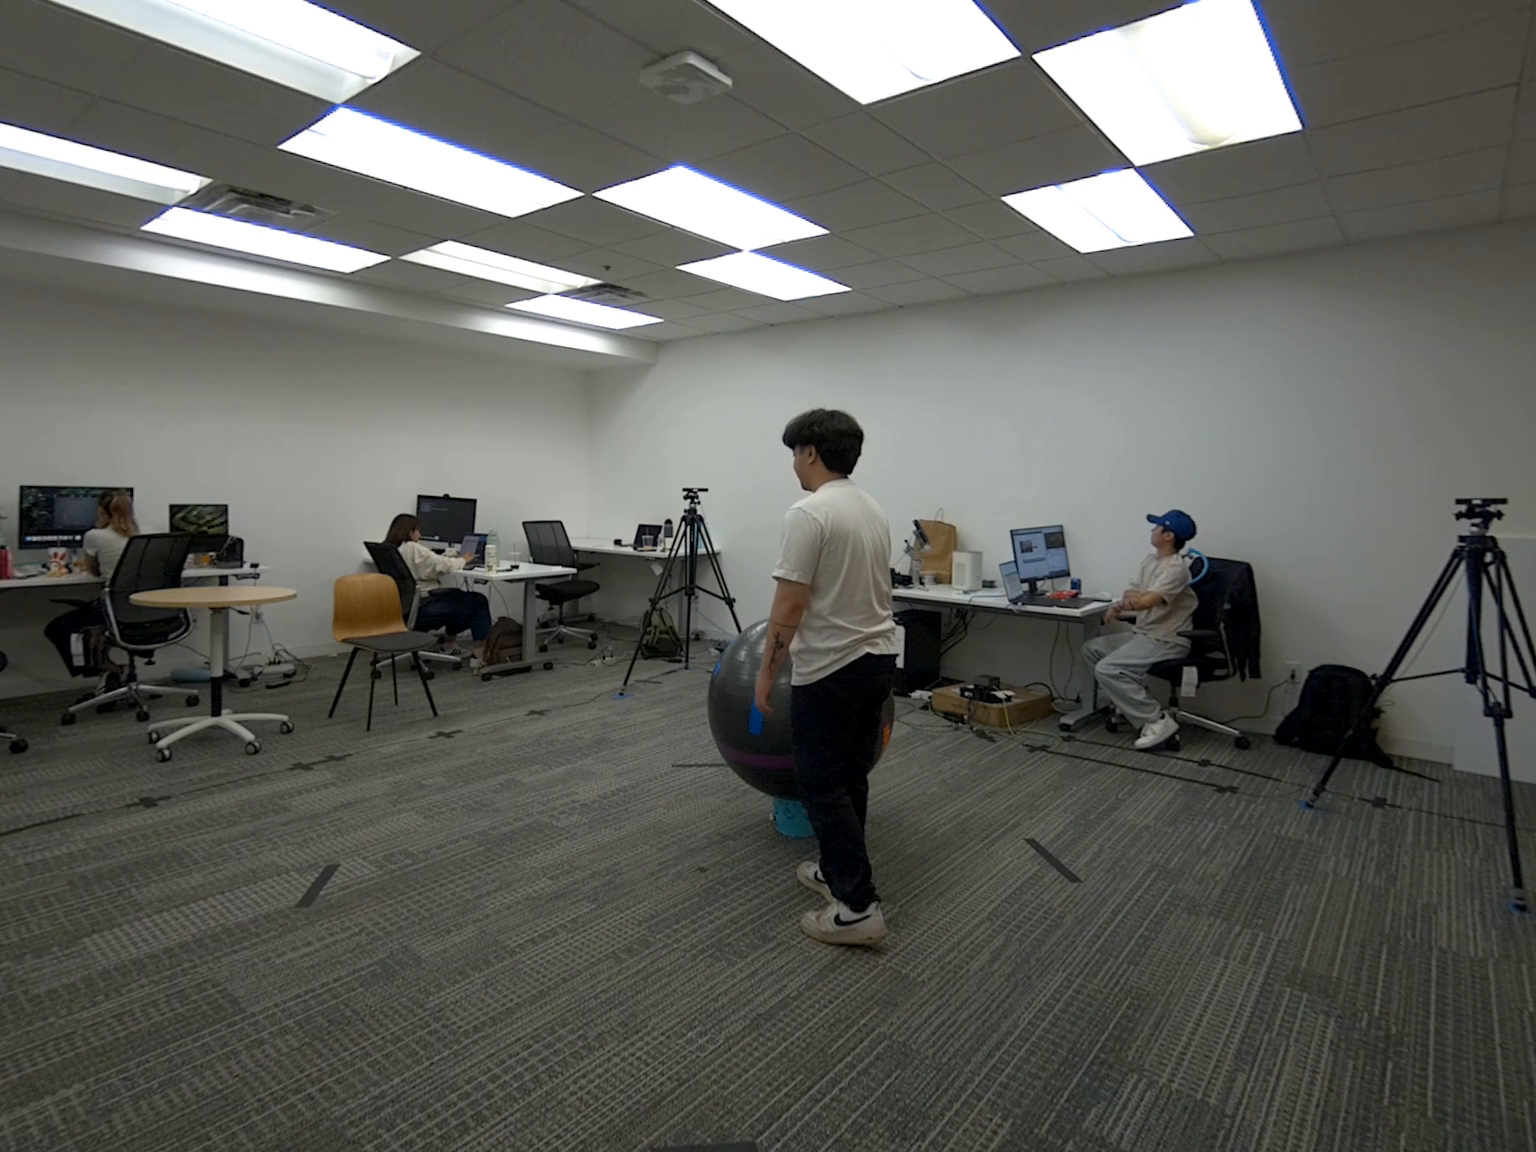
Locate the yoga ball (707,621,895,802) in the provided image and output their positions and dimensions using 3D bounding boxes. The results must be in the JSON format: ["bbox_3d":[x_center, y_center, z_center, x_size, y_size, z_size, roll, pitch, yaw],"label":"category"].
[{"bbox_3d":[0.126,0.527,3.488,0.757,0.755,0.762,1,4,-2],"label":"yoga ball"}]
